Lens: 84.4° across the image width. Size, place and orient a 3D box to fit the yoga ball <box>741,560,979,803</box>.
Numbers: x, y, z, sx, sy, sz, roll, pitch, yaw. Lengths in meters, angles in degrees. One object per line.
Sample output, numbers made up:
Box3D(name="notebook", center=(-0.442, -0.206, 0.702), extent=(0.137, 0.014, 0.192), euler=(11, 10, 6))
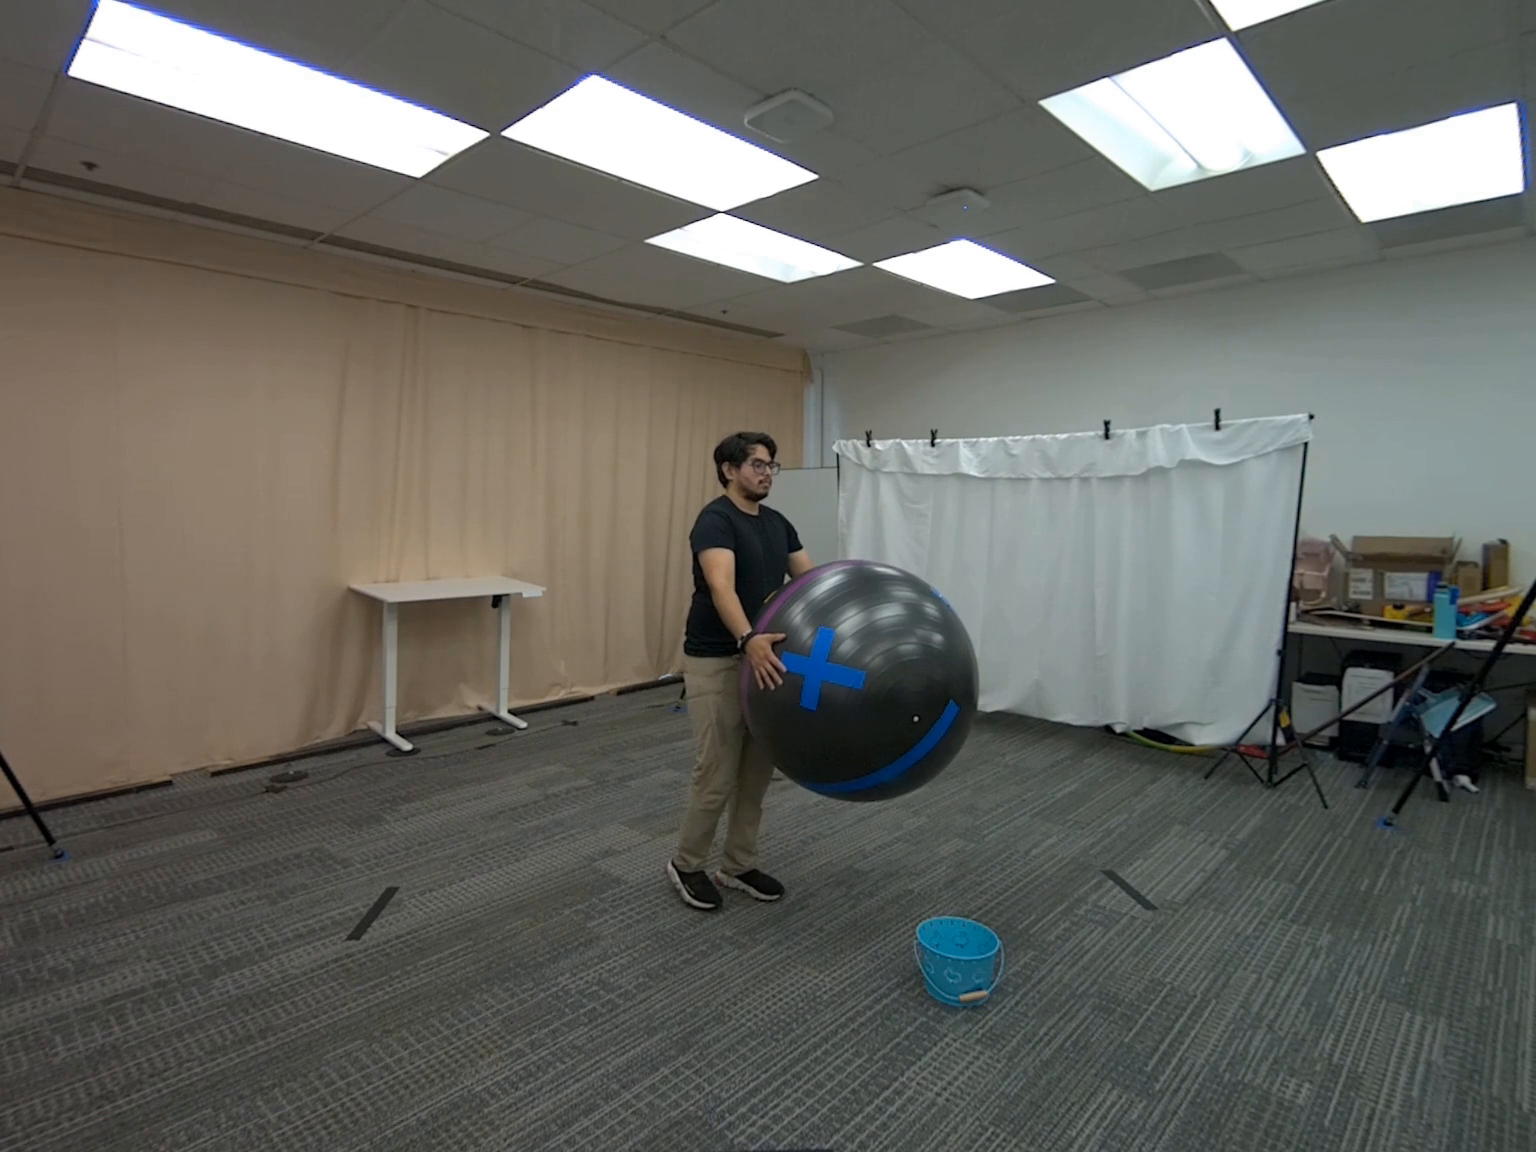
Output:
Box3D(name="yoga ball", center=(0.284, 0.341, 2.688), extent=(0.757, 0.756, 0.760), euler=(0, 4, -2))
